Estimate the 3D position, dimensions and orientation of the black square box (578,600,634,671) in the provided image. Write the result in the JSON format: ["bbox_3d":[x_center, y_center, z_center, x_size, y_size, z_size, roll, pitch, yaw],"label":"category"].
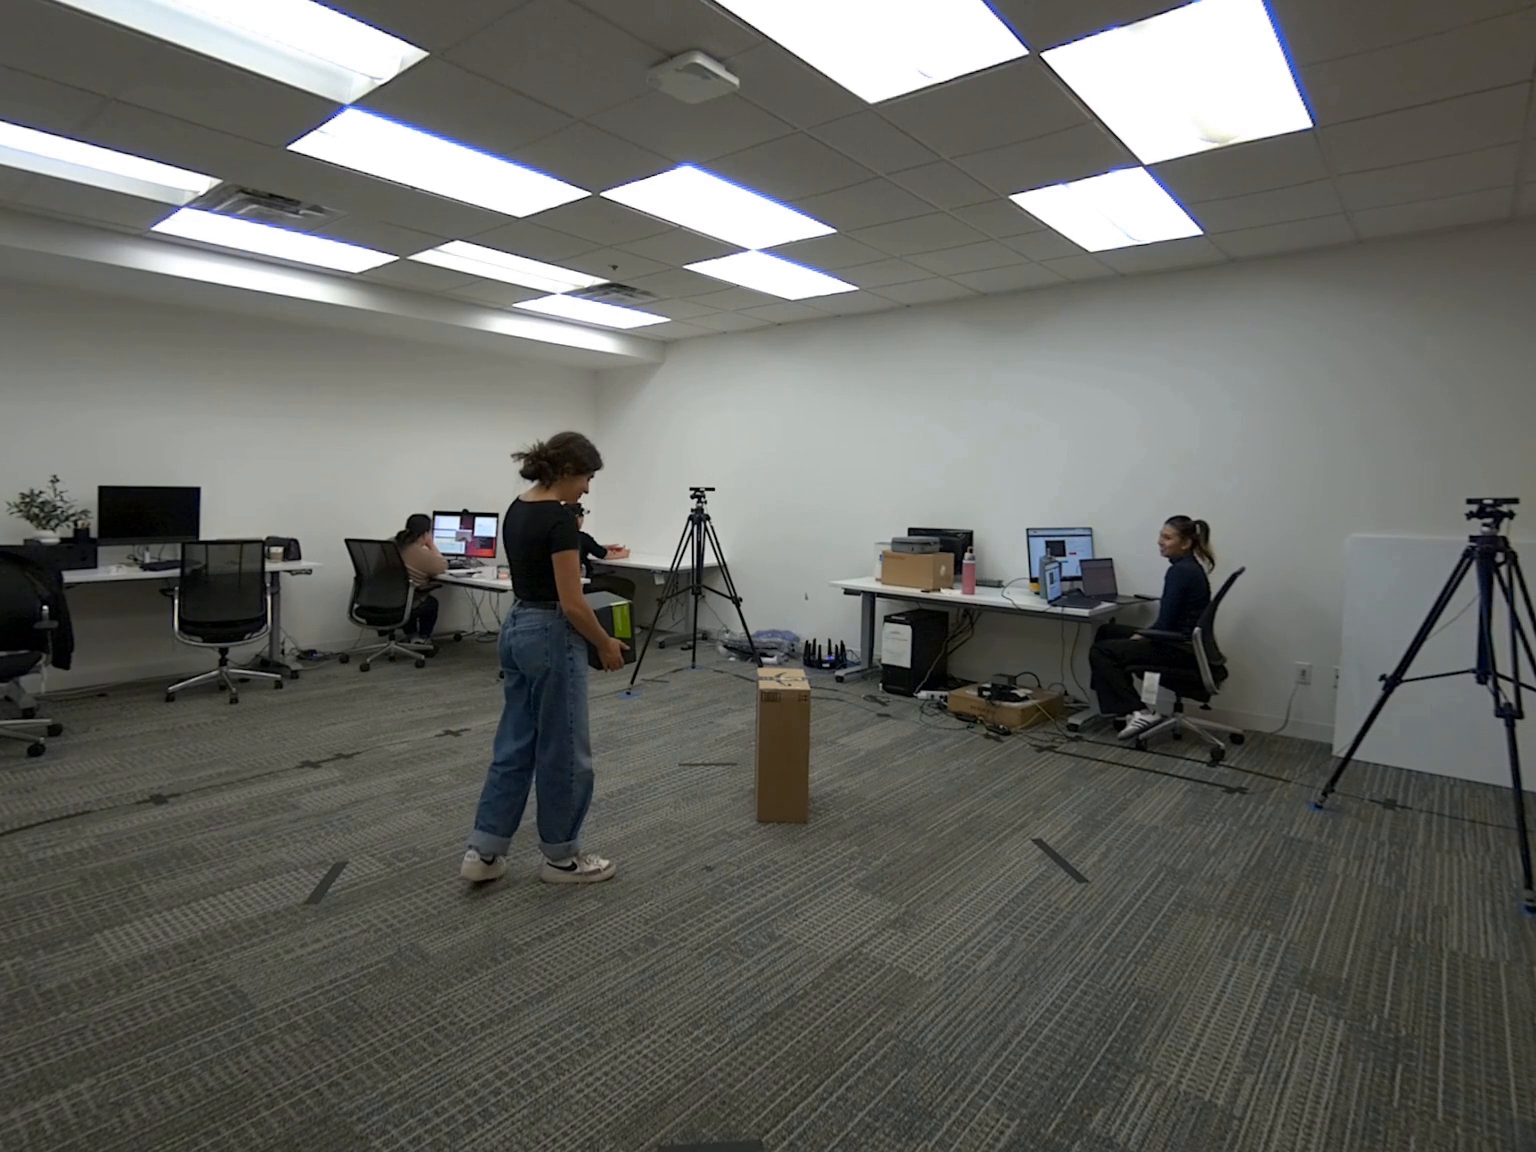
[{"bbox_3d":[-0.630,0.212,3.061,0.221,0.227,0.154,-1,4,17],"label":"black square box"}]
